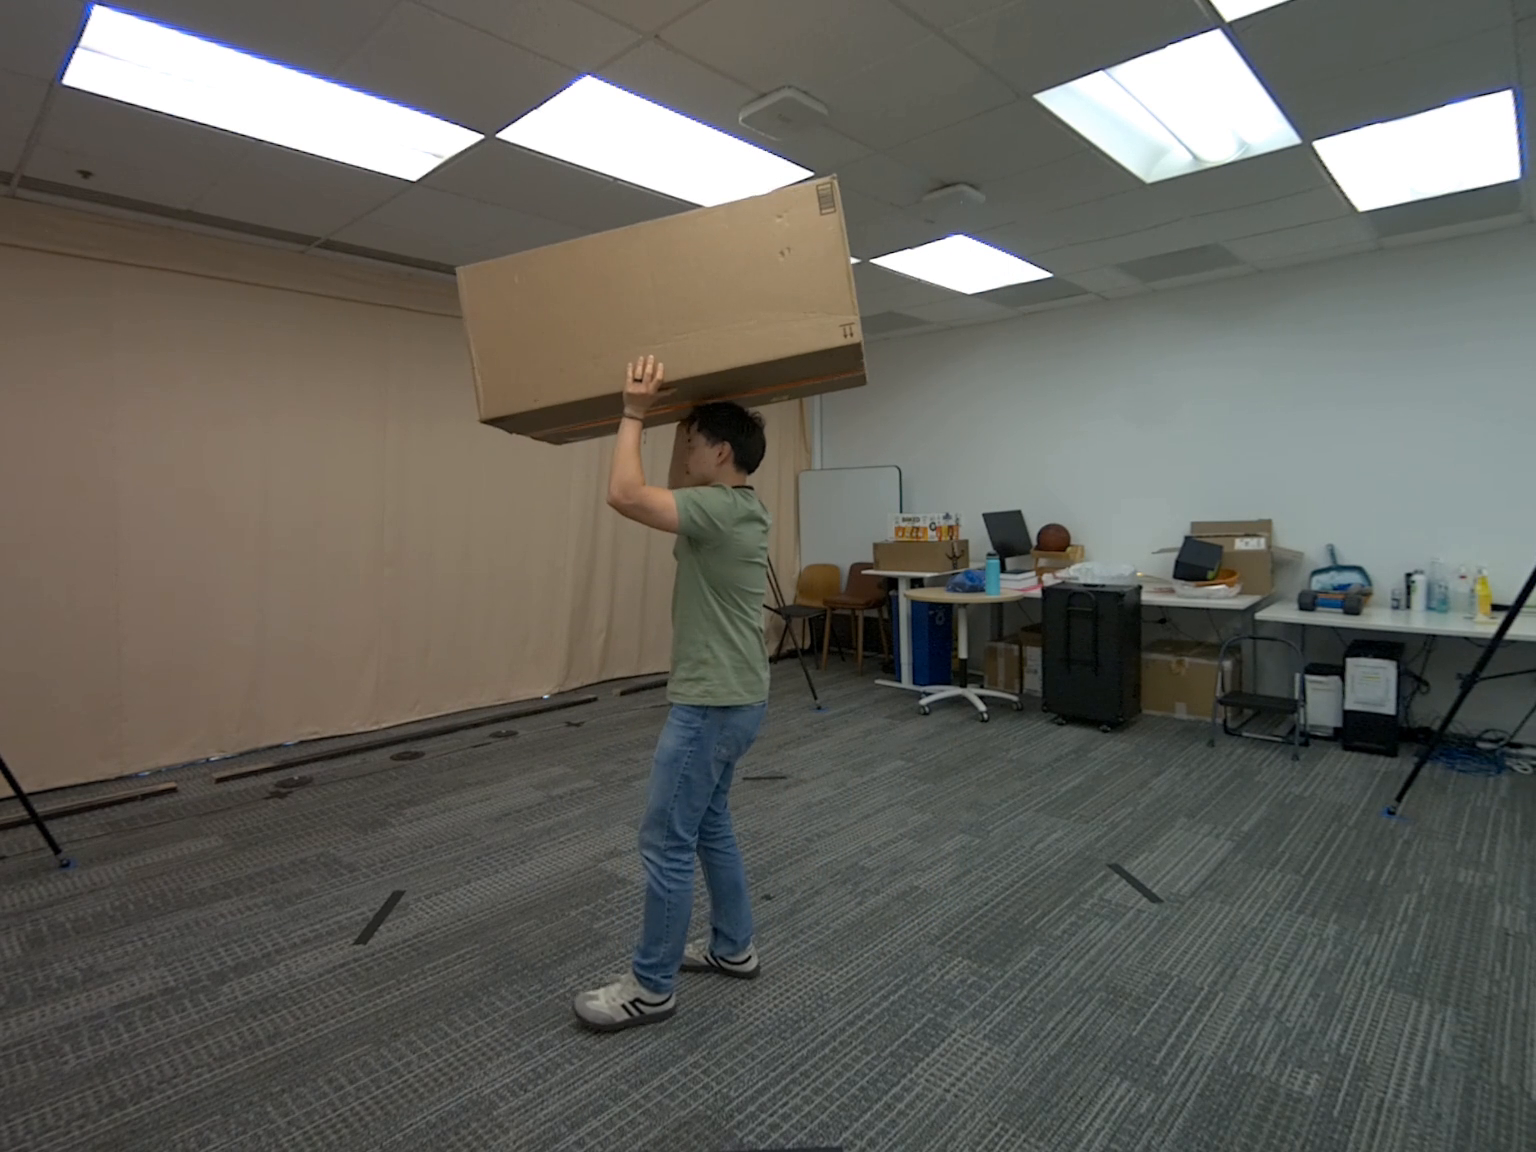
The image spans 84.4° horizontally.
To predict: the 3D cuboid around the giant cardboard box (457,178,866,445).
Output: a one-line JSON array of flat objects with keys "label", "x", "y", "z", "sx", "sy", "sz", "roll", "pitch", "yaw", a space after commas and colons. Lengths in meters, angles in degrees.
[{"label": "giant cardboard box", "x": -0.259, "y": -0.708, "z": 2.415, "sx": 1.037, "sy": 0.426, "sz": 0.571, "roll": -10, "pitch": 1, "yaw": 11}]
